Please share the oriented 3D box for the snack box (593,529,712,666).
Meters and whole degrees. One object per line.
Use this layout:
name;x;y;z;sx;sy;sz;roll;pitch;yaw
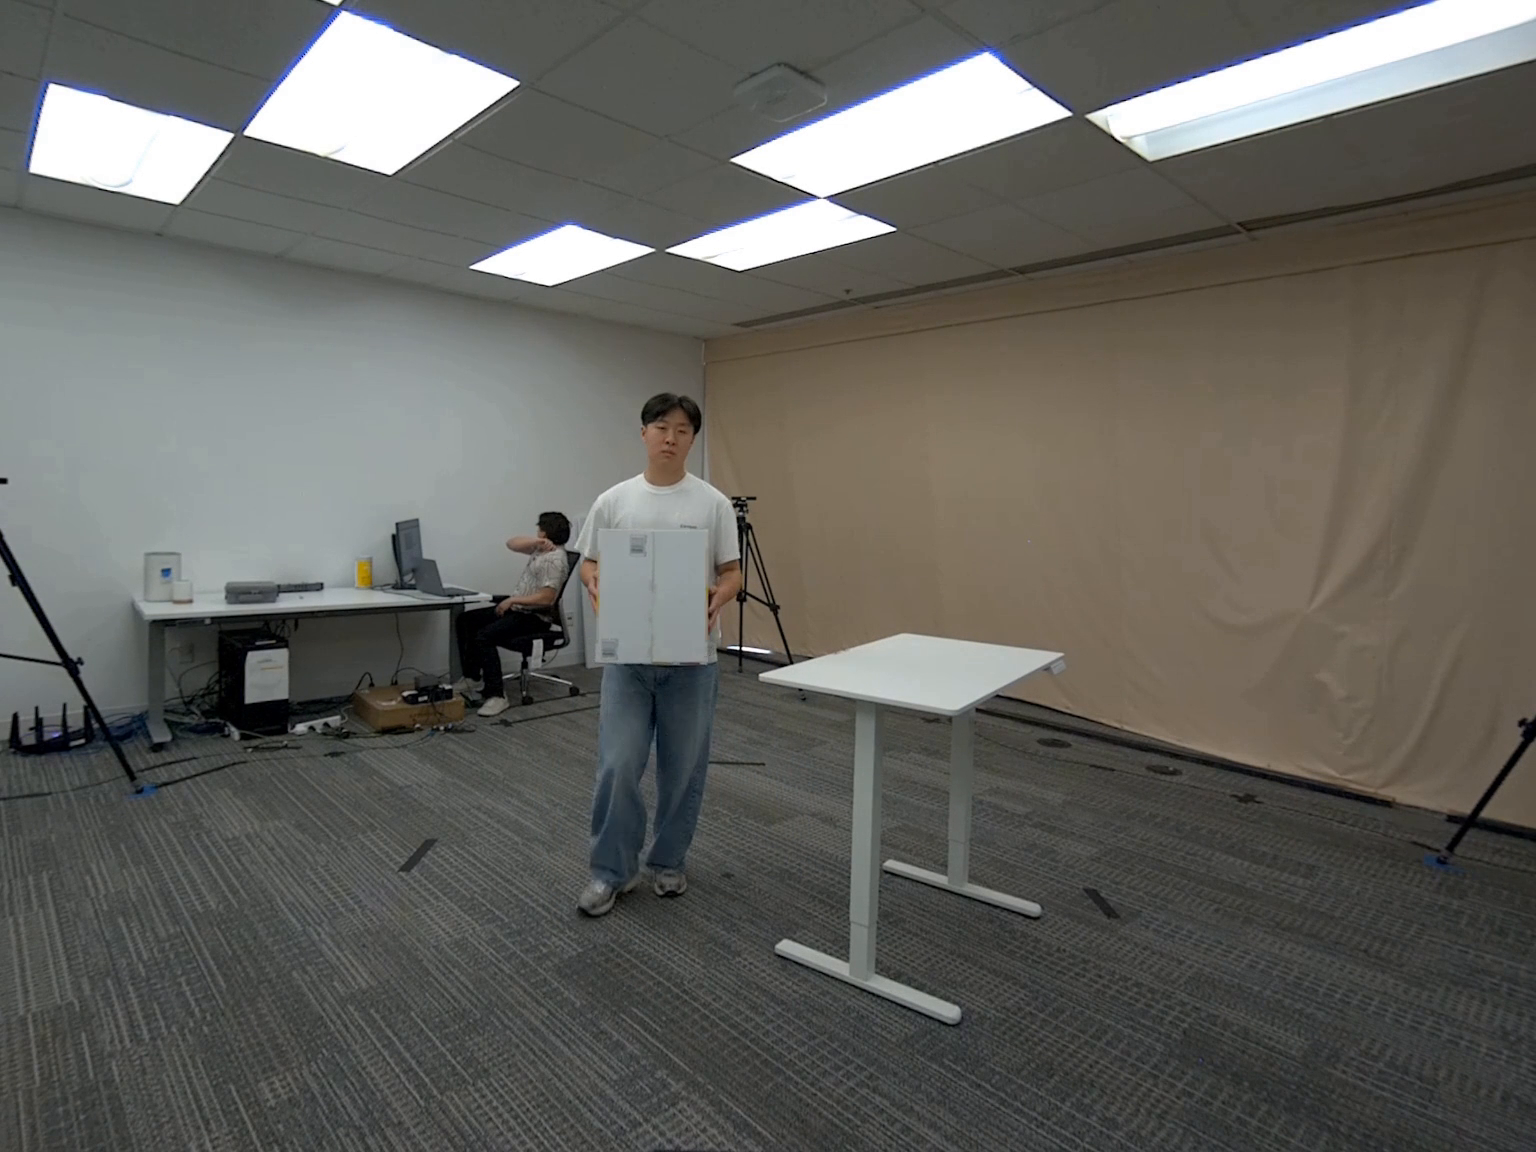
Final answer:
snack box;-0.371;0.064;2.607;0.340;0.405;0.206;0;0;-2
